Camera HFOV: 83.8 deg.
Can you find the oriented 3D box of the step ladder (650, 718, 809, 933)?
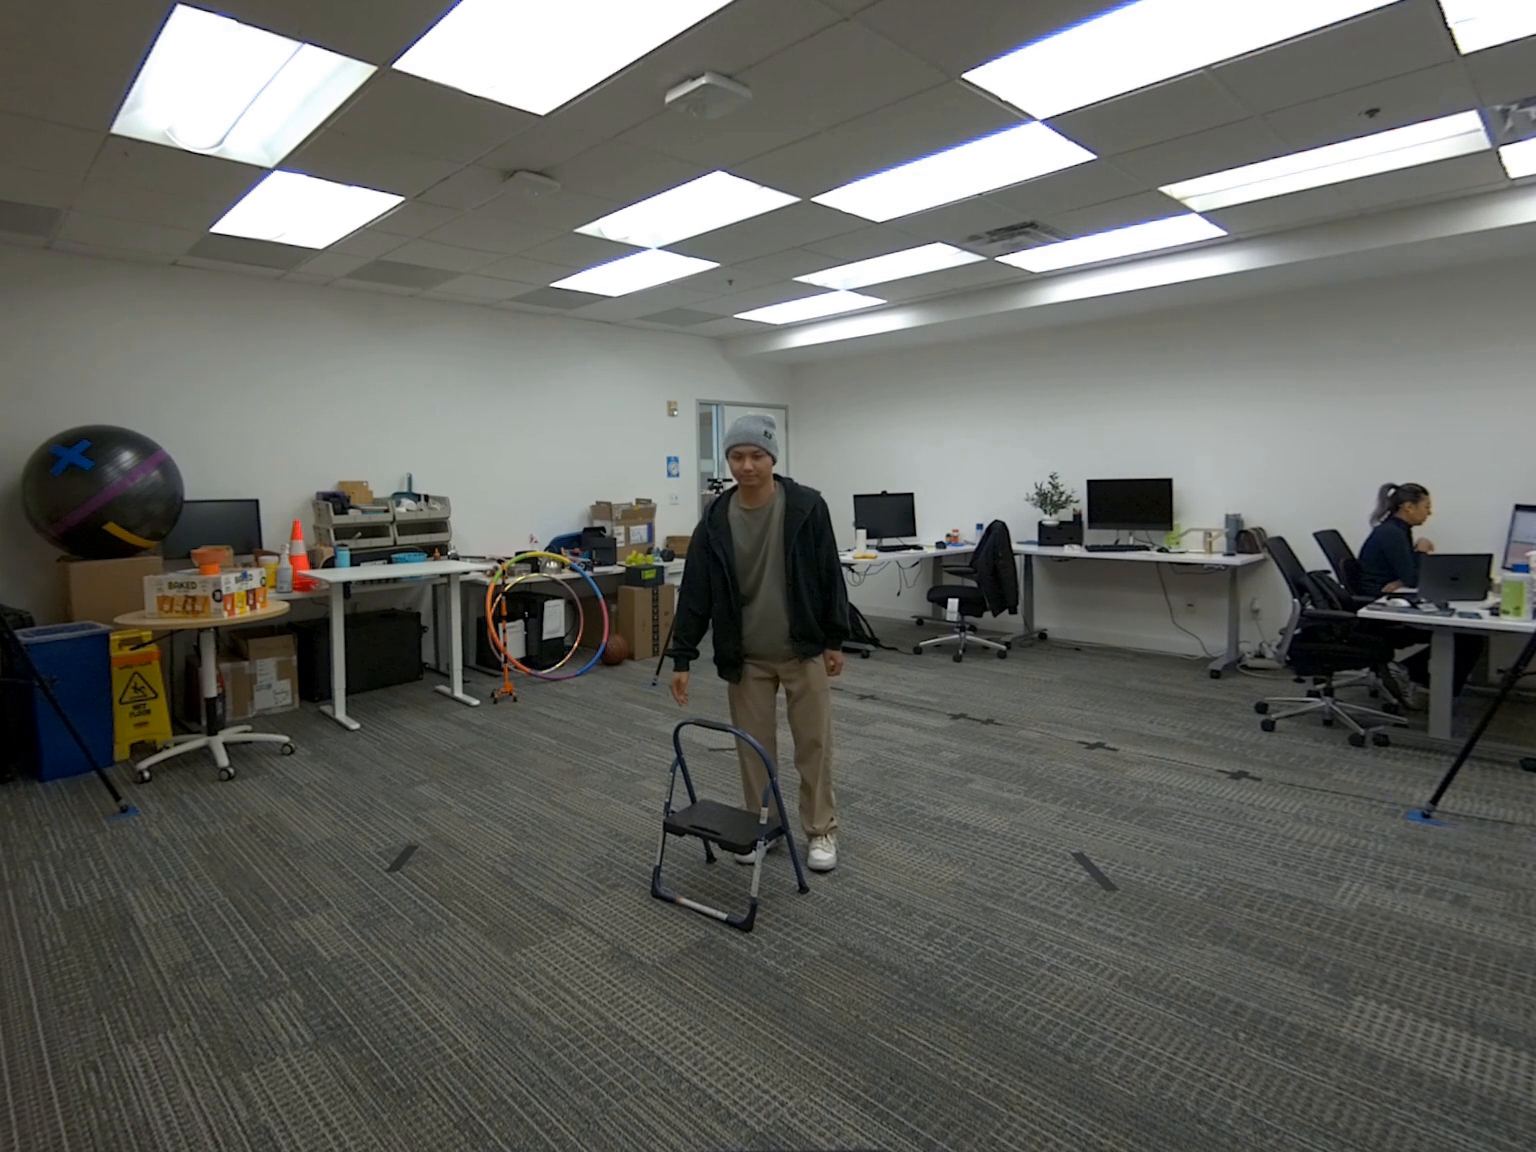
[{"bbox_3d":[-0.135,0.770,2.865,0.443,0.604,0.341,2,5,35],"label":"step ladder"}]
